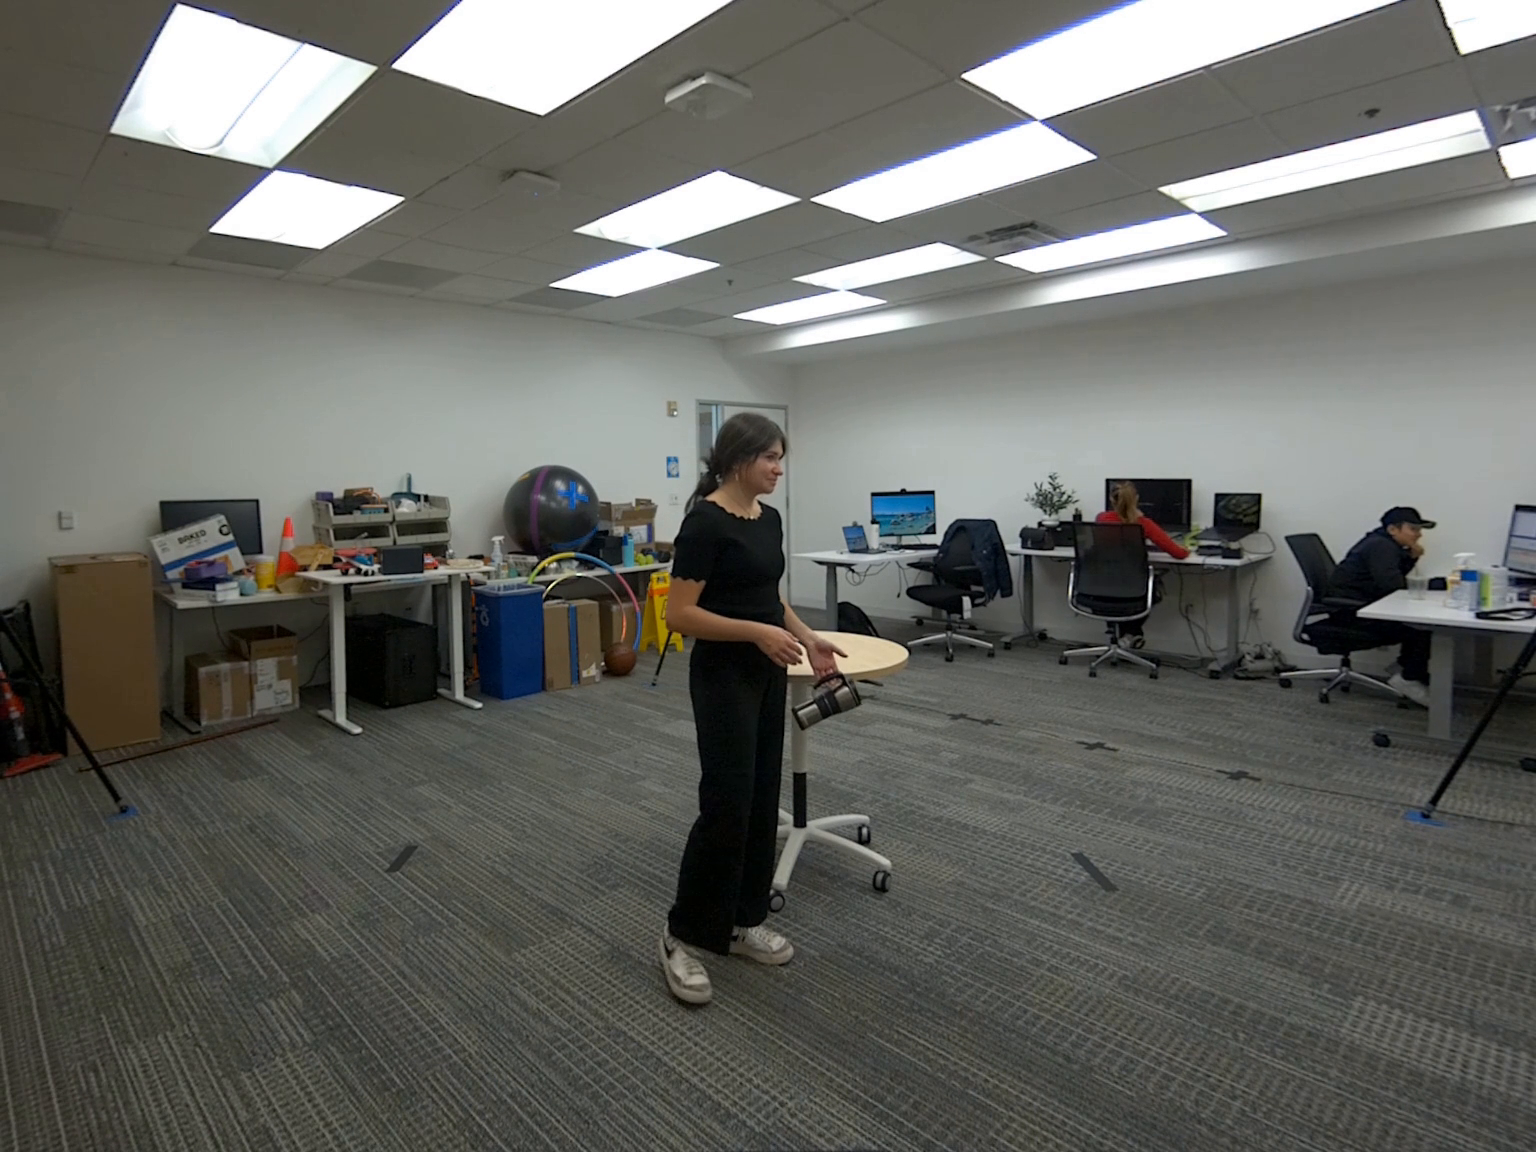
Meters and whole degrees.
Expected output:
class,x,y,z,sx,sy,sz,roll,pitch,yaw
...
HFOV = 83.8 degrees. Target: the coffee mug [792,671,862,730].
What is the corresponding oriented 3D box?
class,x,y,z,sx,sy,sz,roll,pitch,yaw
coffee mug,0.160,0.353,2.521,0.203,0.120,0.089,-22,16,0
